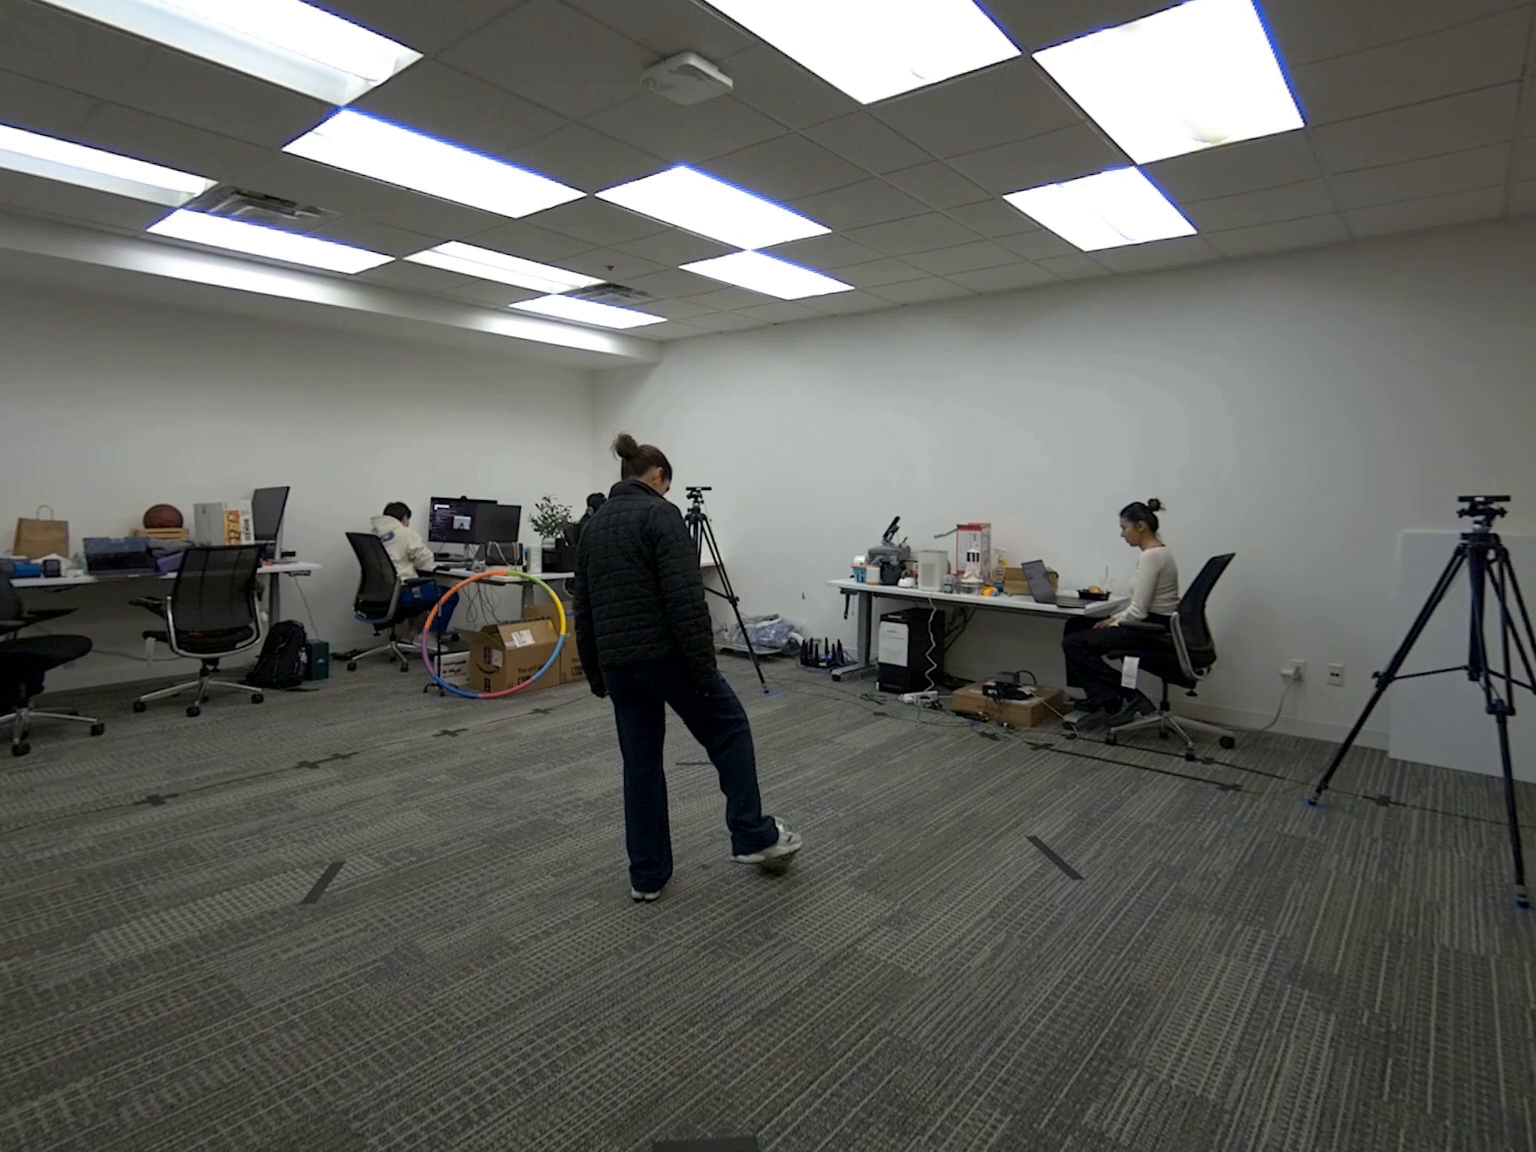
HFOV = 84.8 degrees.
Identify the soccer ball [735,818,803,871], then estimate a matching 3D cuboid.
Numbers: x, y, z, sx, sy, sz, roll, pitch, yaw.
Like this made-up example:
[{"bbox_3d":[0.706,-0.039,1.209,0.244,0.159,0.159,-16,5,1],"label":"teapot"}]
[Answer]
[{"bbox_3d":[0.009,0.969,3.111,0.187,0.187,0.188,1,4,-2],"label":"soccer ball"}]
